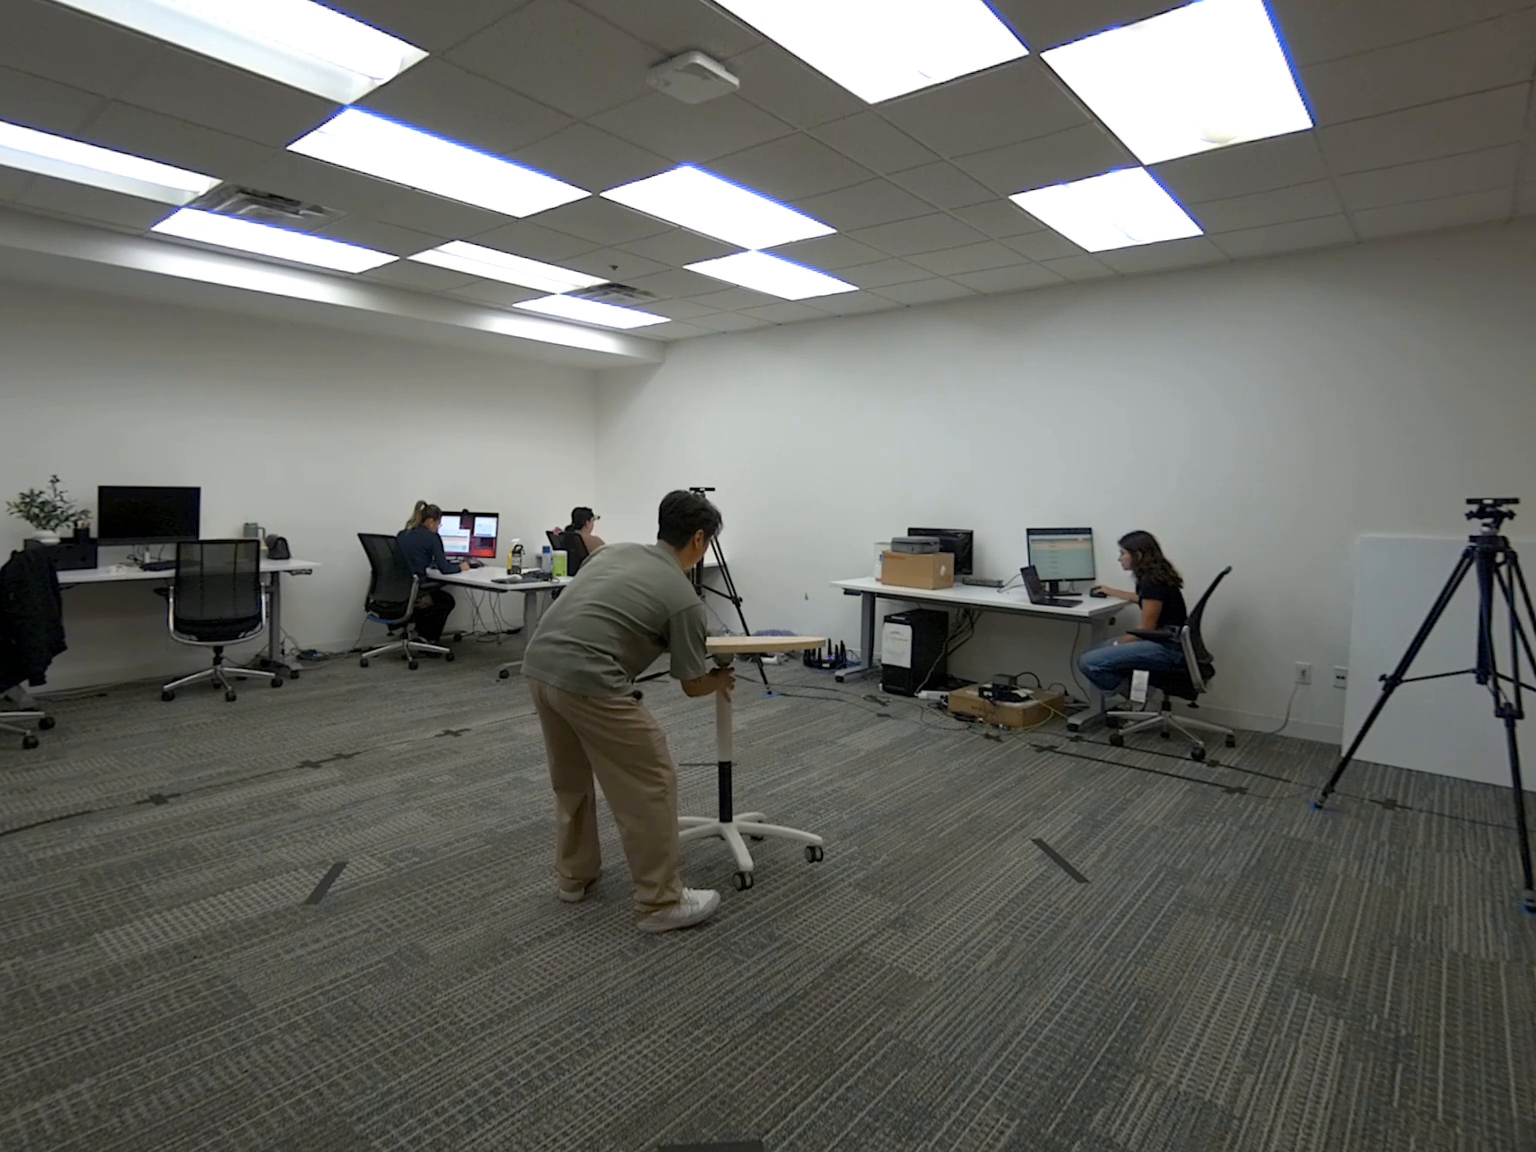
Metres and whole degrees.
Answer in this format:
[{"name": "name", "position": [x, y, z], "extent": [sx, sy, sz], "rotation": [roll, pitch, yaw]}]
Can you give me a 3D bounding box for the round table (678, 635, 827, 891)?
[{"name": "round table", "position": [-0.177, 0.634, 3.153], "extent": [0.784, 0.790, 0.783], "rotation": [0, -3, -2]}]
